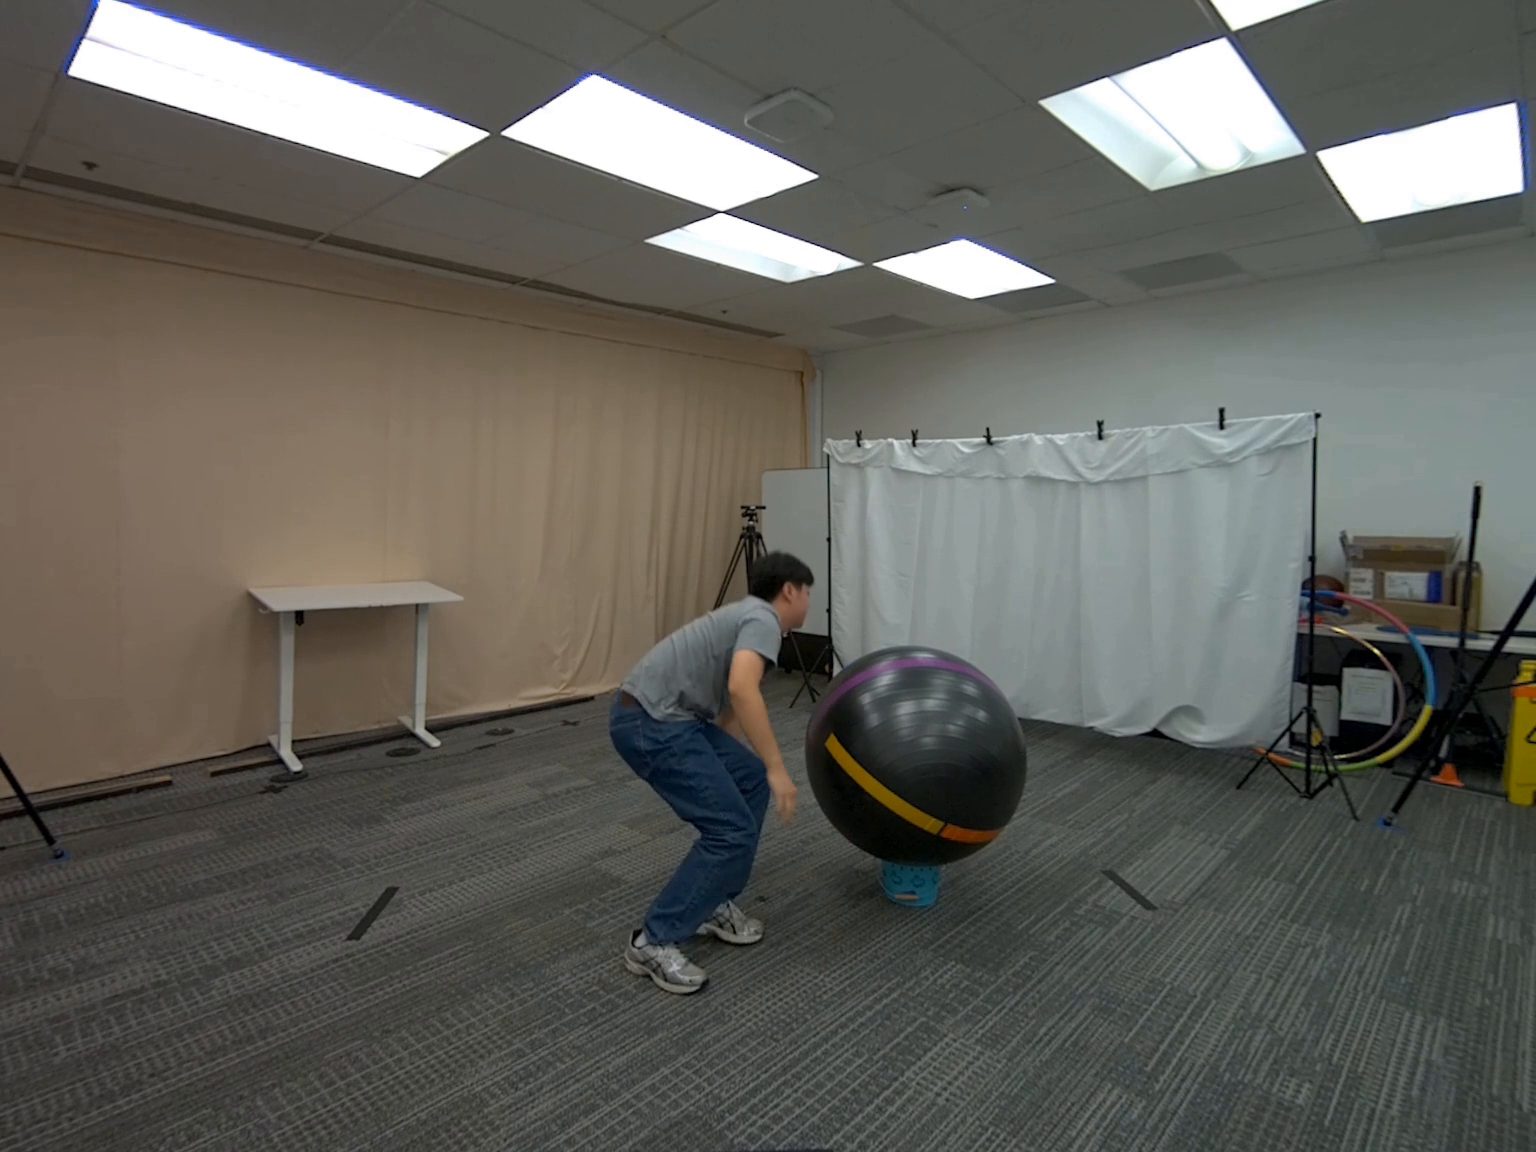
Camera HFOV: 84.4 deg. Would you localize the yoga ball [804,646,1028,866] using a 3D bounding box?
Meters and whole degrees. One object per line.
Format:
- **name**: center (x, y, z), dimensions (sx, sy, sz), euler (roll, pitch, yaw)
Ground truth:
- **yoga ball**: center (0.527, 0.632, 2.986), dimensions (0.757, 0.756, 0.761), euler (0, 4, -2)
